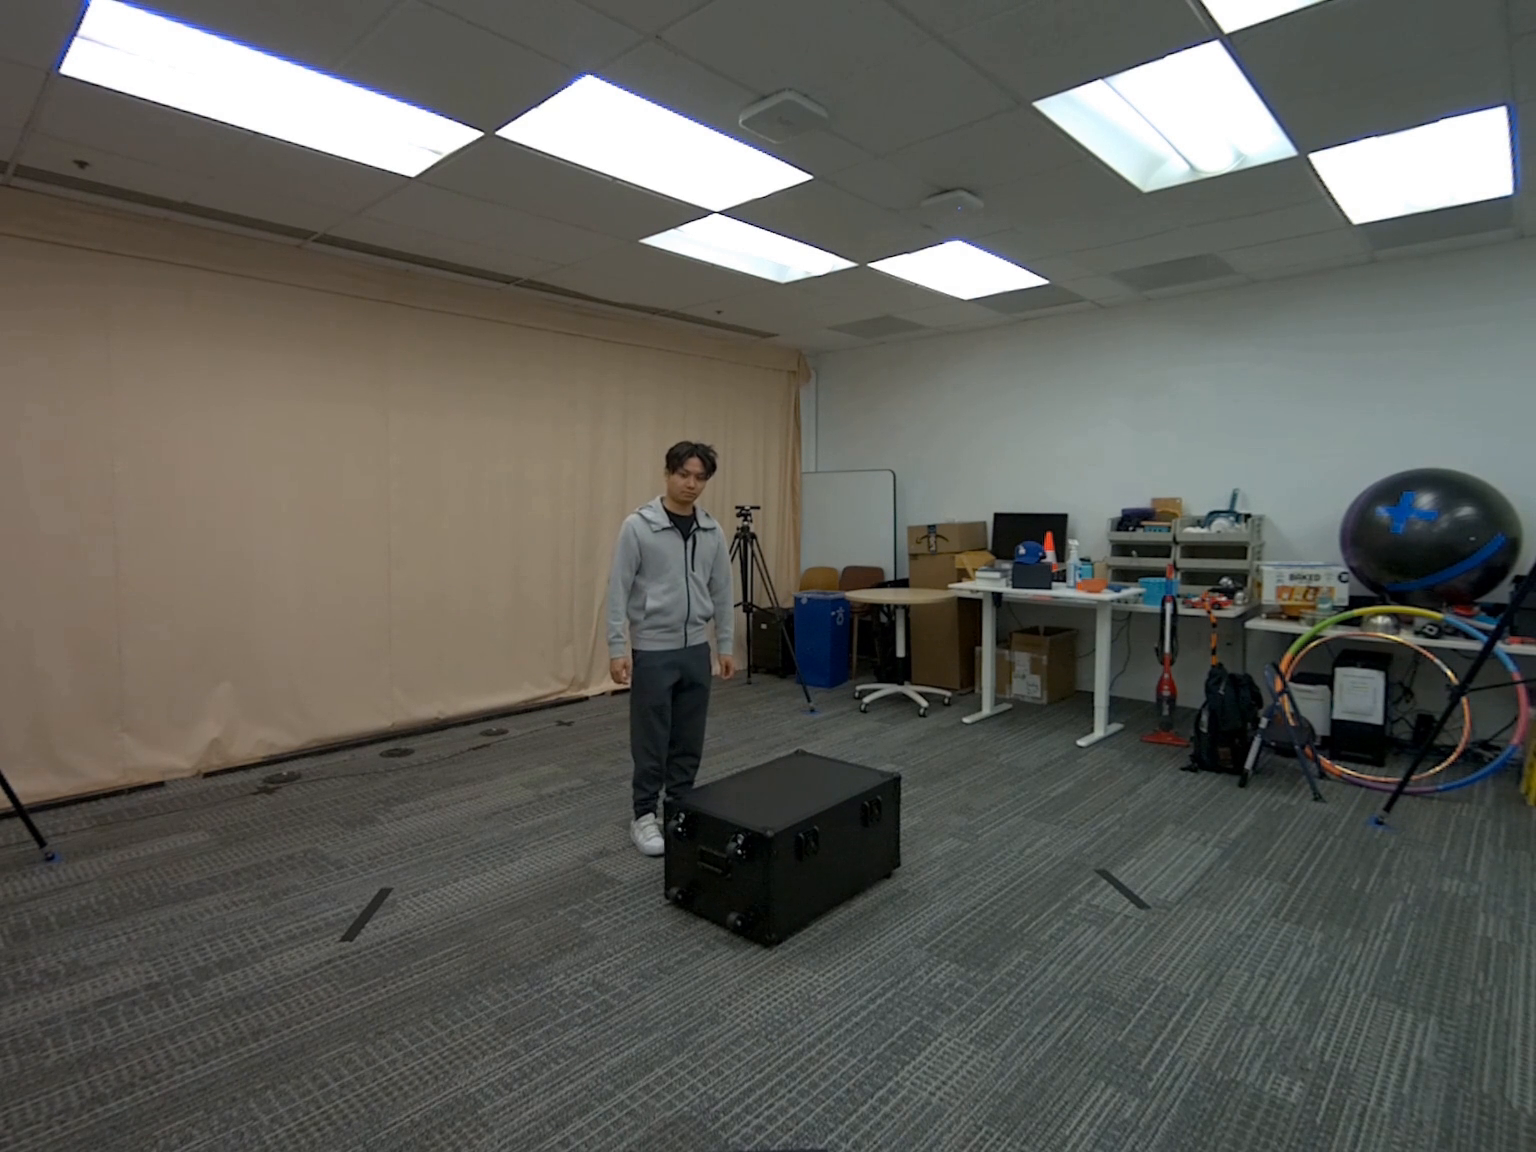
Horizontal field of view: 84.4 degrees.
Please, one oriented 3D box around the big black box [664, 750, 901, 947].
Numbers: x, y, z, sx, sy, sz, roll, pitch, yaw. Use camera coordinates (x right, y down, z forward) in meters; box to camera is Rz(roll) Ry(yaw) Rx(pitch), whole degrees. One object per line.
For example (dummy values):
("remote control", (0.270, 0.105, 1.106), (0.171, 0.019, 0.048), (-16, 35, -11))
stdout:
("big black box", (0.051, 0.950, 3.034), (0.538, 0.395, 0.835), (3, 5, 41))
